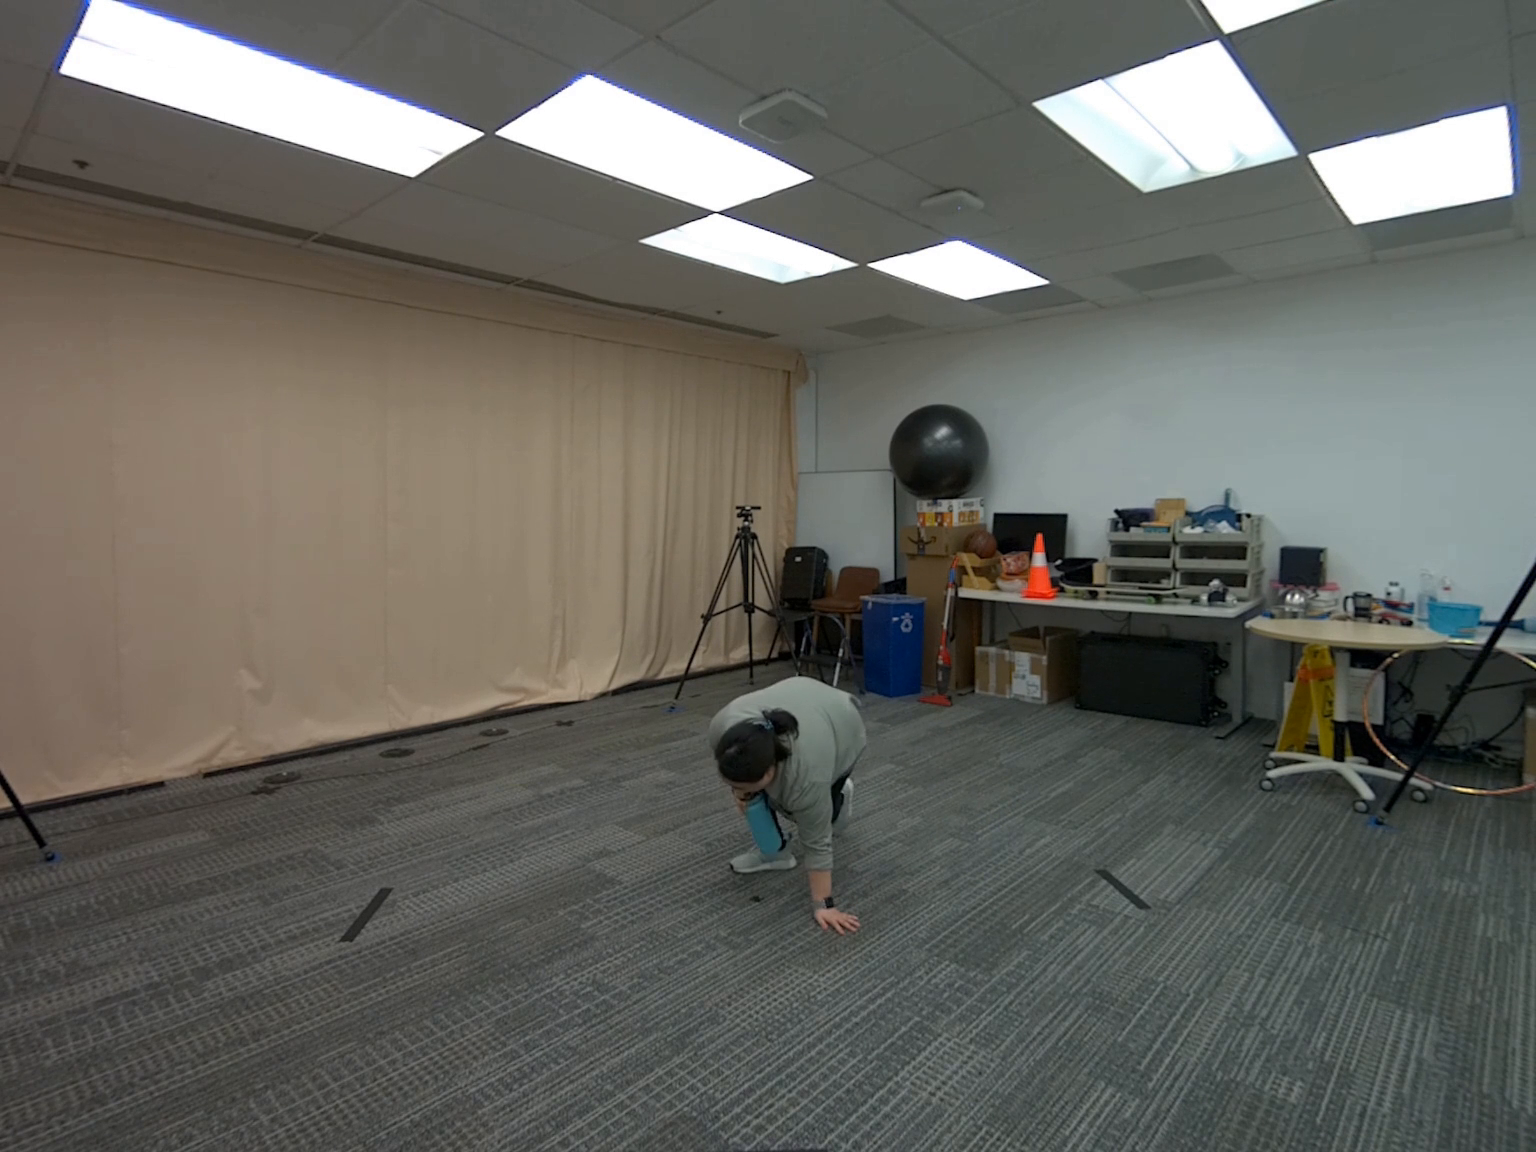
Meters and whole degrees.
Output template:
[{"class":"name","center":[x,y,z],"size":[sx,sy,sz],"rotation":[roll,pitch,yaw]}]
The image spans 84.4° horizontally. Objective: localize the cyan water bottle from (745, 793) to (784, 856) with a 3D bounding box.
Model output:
[{"class":"cyan water bottle","center":[-0.023,0.864,3.015],"size":[0.093,0.278,0.093],"rotation":[-16,21,5]}]
